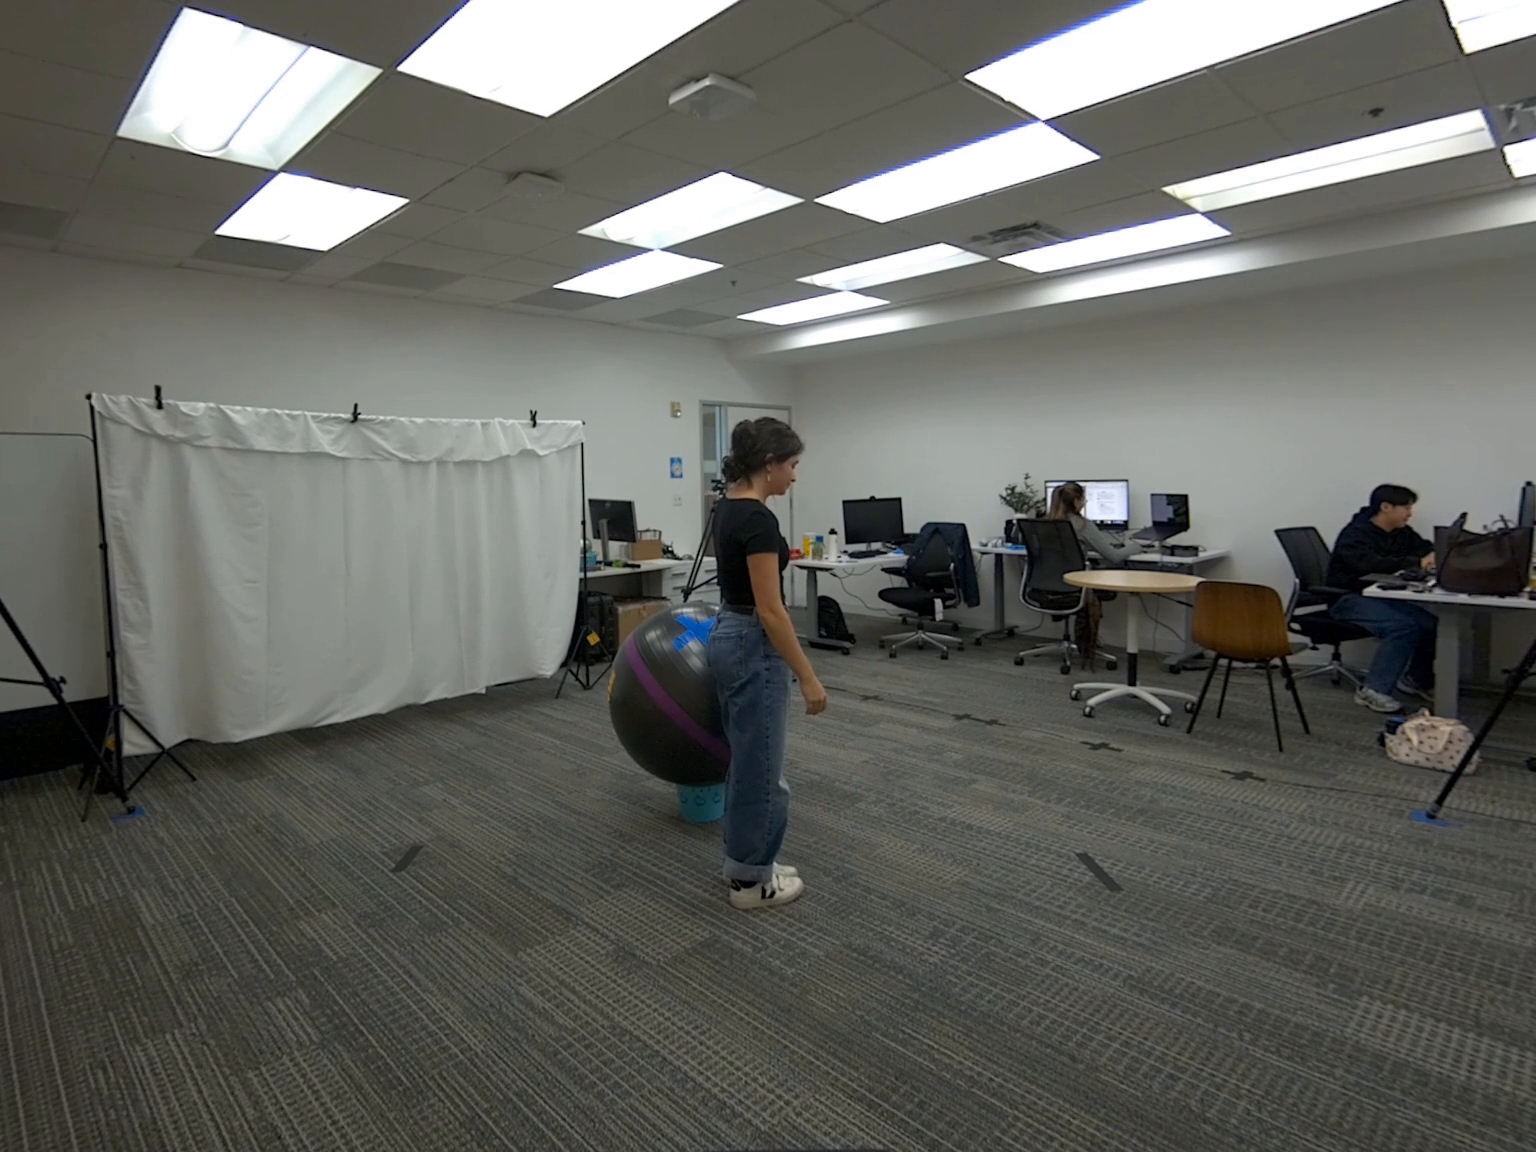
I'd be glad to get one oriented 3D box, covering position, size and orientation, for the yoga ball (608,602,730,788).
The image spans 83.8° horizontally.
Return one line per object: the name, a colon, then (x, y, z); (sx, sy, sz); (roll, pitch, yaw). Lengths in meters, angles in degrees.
yoga ball: (-0.288, 0.487, 3.574); (0.757, 0.755, 0.762); (-1, 5, -2)
